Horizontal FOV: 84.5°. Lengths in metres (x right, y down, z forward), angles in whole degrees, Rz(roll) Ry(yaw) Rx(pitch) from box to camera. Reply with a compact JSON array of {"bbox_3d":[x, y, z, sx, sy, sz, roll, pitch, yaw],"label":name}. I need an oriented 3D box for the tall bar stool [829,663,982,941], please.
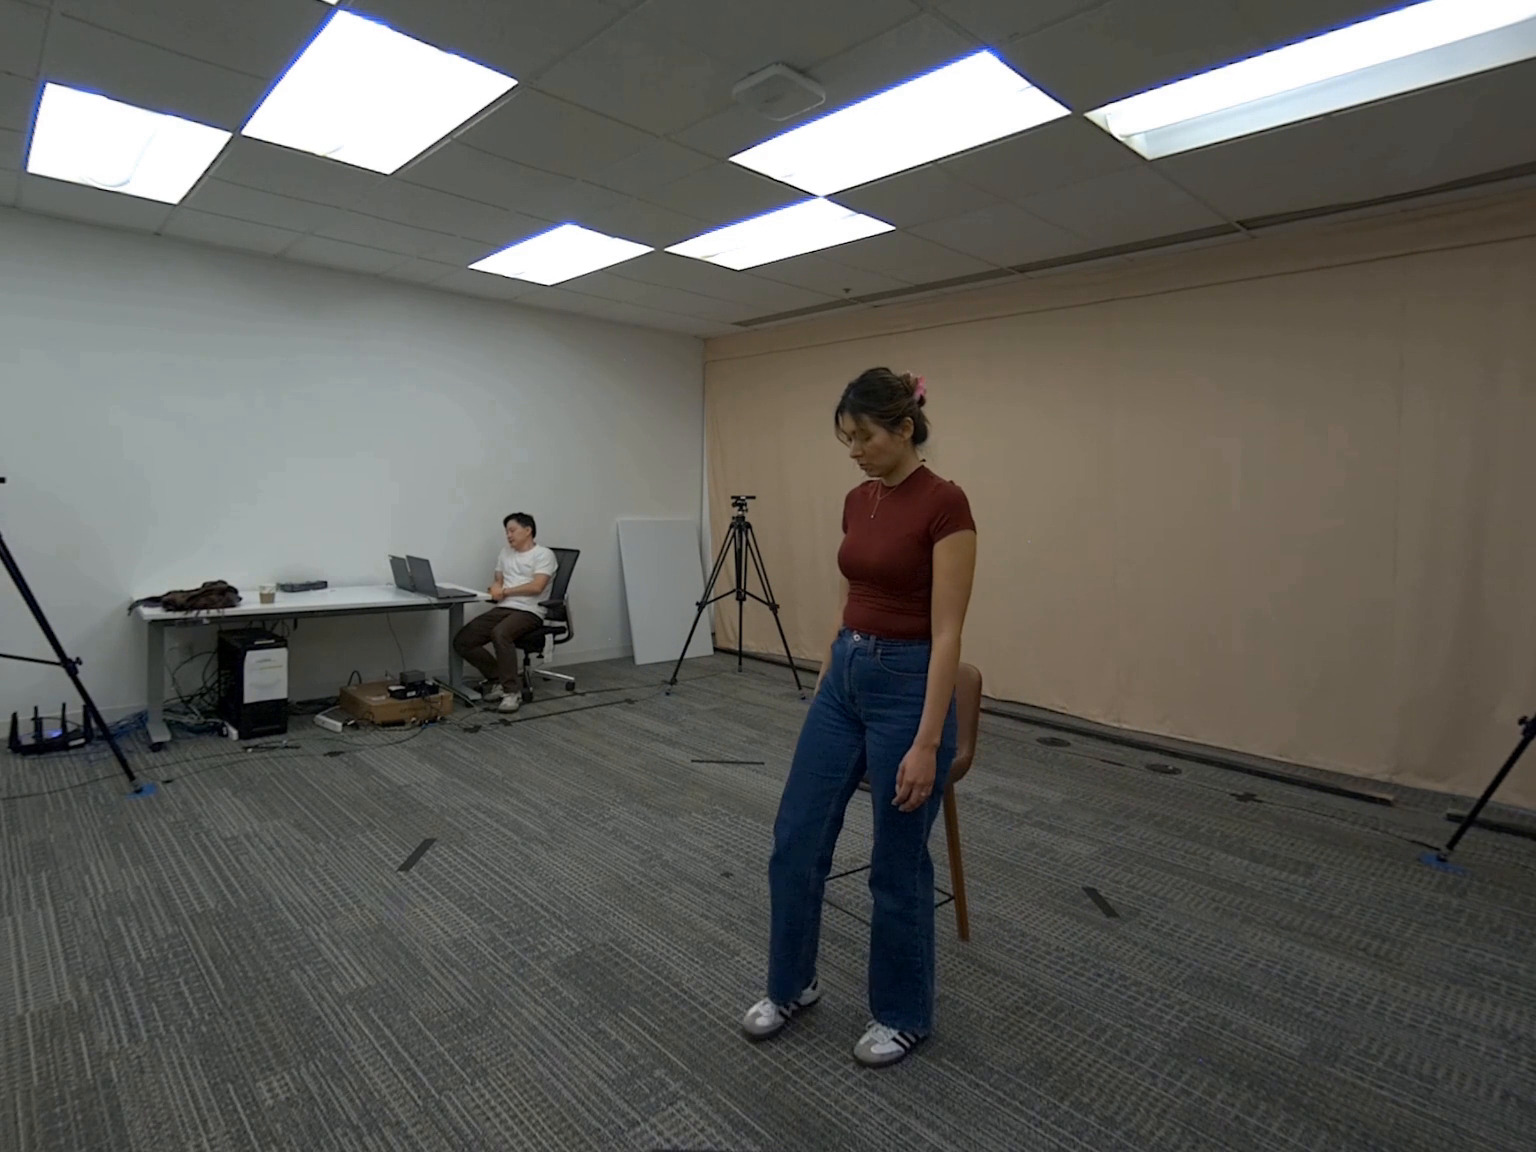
[{"bbox_3d":[0.374,0.723,2.668,0.456,0.888,0.468,1,3,-40],"label":"tall bar stool"}]
